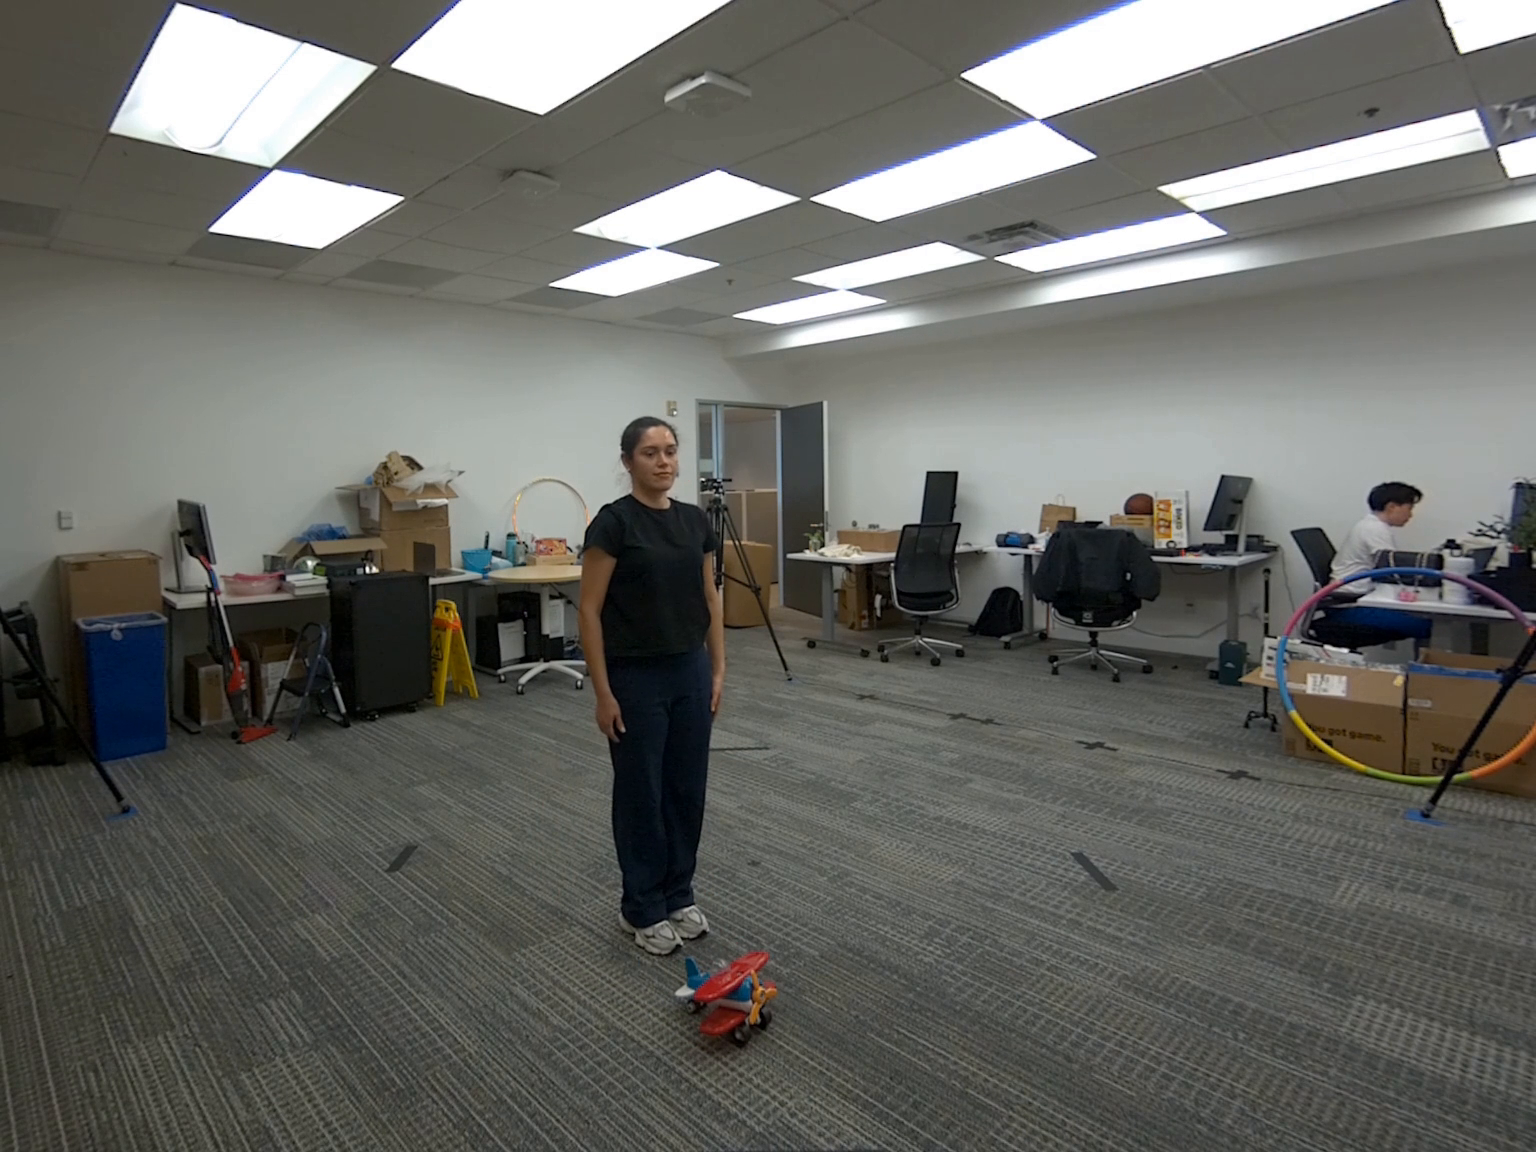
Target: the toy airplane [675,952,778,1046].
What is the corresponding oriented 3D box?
[{"bbox_3d":[-0.112,1.081,2.194,0.262,0.156,0.249,1,6,10],"label":"toy airplane"}]
